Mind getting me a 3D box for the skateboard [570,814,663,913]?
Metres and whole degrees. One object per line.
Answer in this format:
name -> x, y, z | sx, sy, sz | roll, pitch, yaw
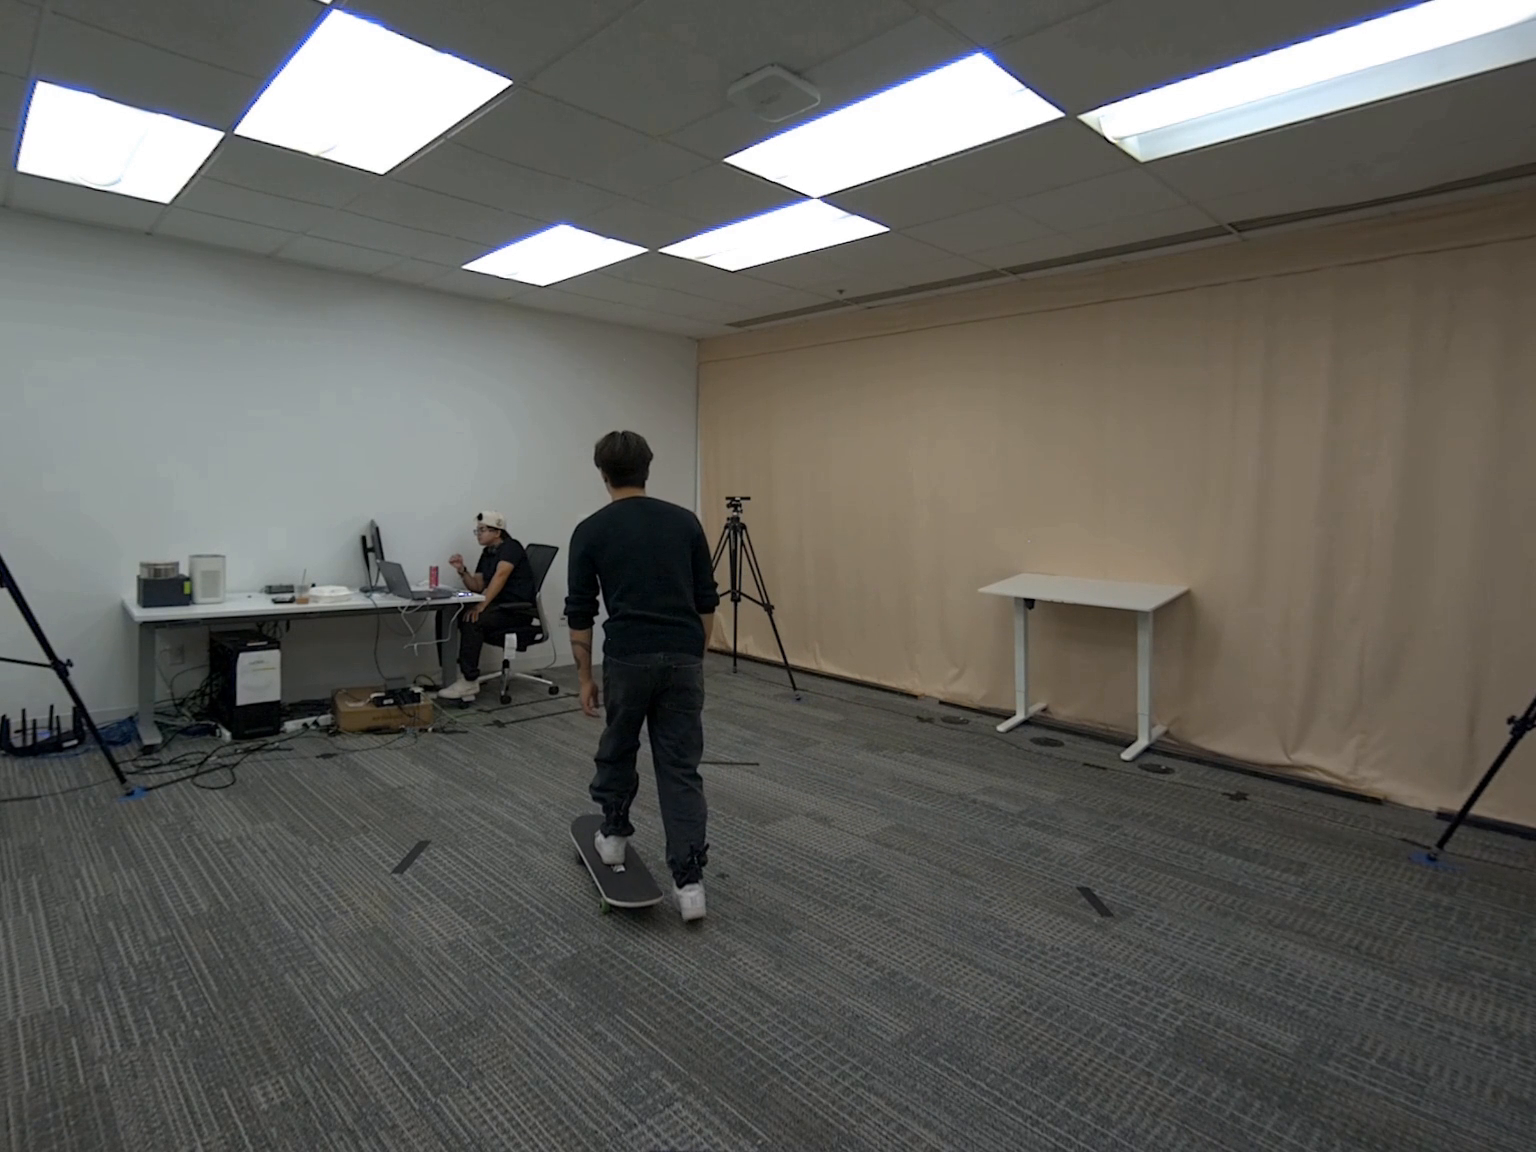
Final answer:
skateboard -> -0.568, 1.050, 3.021 | 0.190, 0.110, 0.801 | 0, 6, -23
